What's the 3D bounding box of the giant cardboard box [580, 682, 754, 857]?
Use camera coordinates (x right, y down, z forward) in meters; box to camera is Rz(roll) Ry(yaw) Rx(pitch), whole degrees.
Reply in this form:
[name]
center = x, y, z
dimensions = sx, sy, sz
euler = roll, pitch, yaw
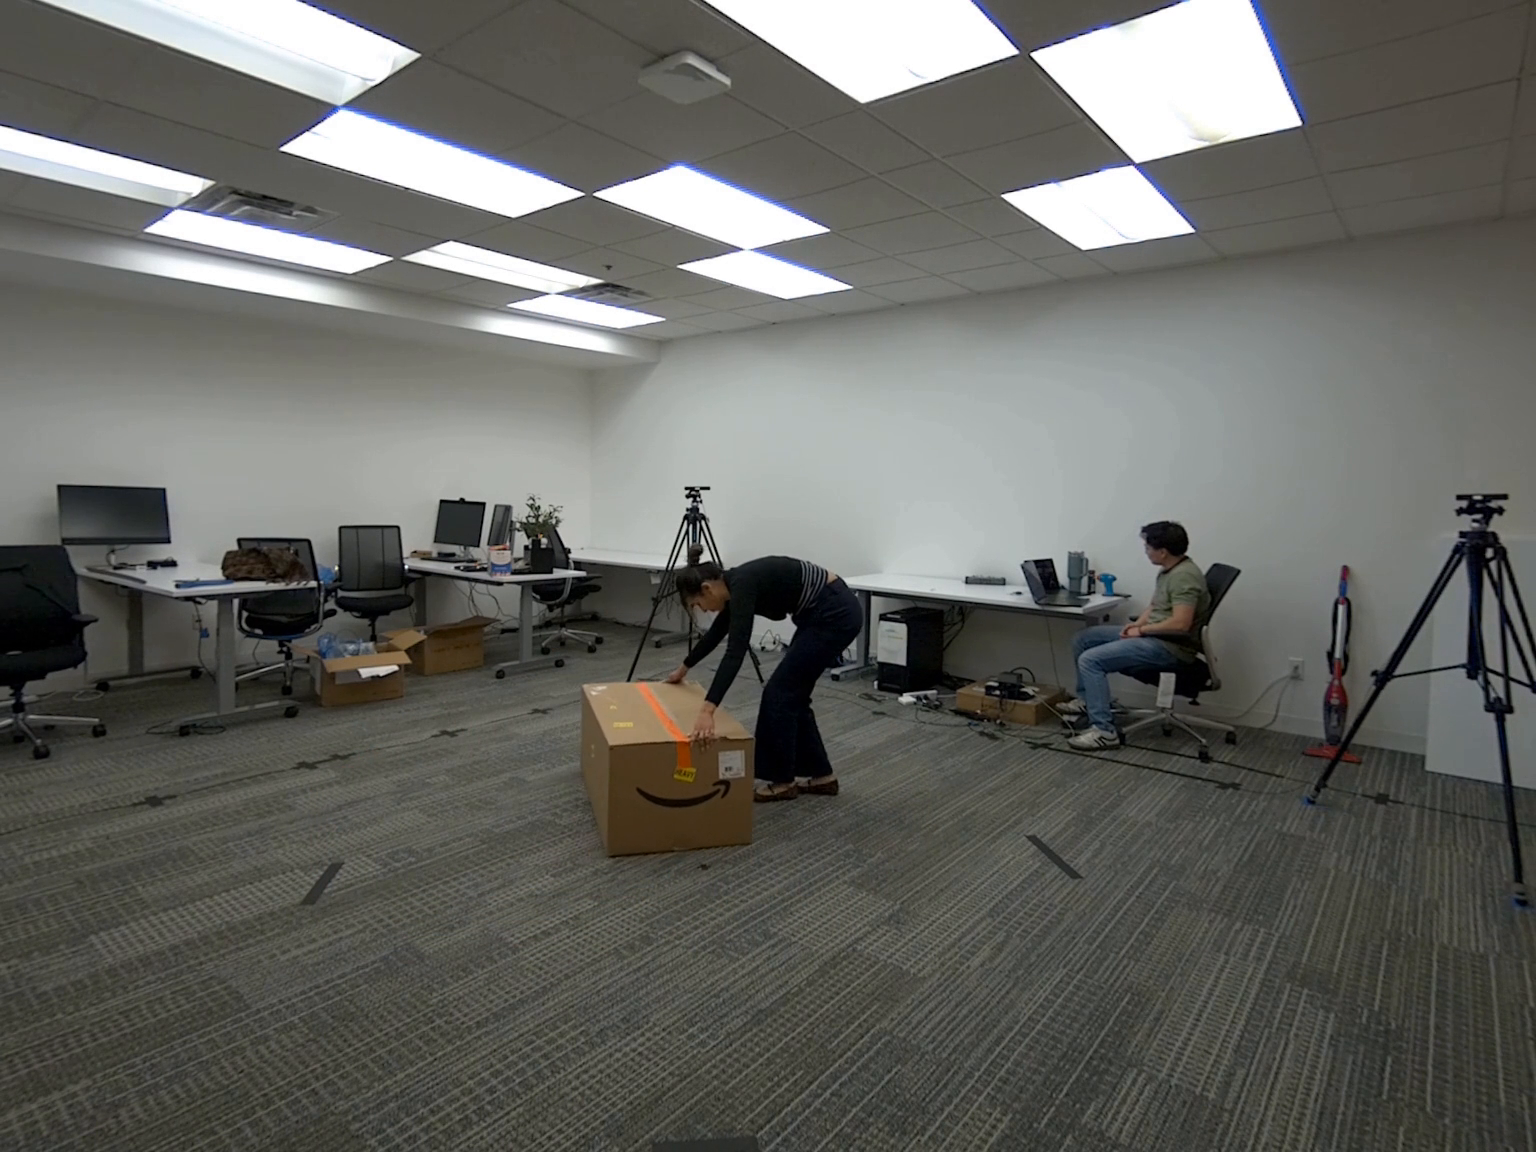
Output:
[giant cardboard box]
center = -0.492, 0.782, 3.727
dimensions = 0.568, 0.425, 1.047
euler = 0, 5, -18
